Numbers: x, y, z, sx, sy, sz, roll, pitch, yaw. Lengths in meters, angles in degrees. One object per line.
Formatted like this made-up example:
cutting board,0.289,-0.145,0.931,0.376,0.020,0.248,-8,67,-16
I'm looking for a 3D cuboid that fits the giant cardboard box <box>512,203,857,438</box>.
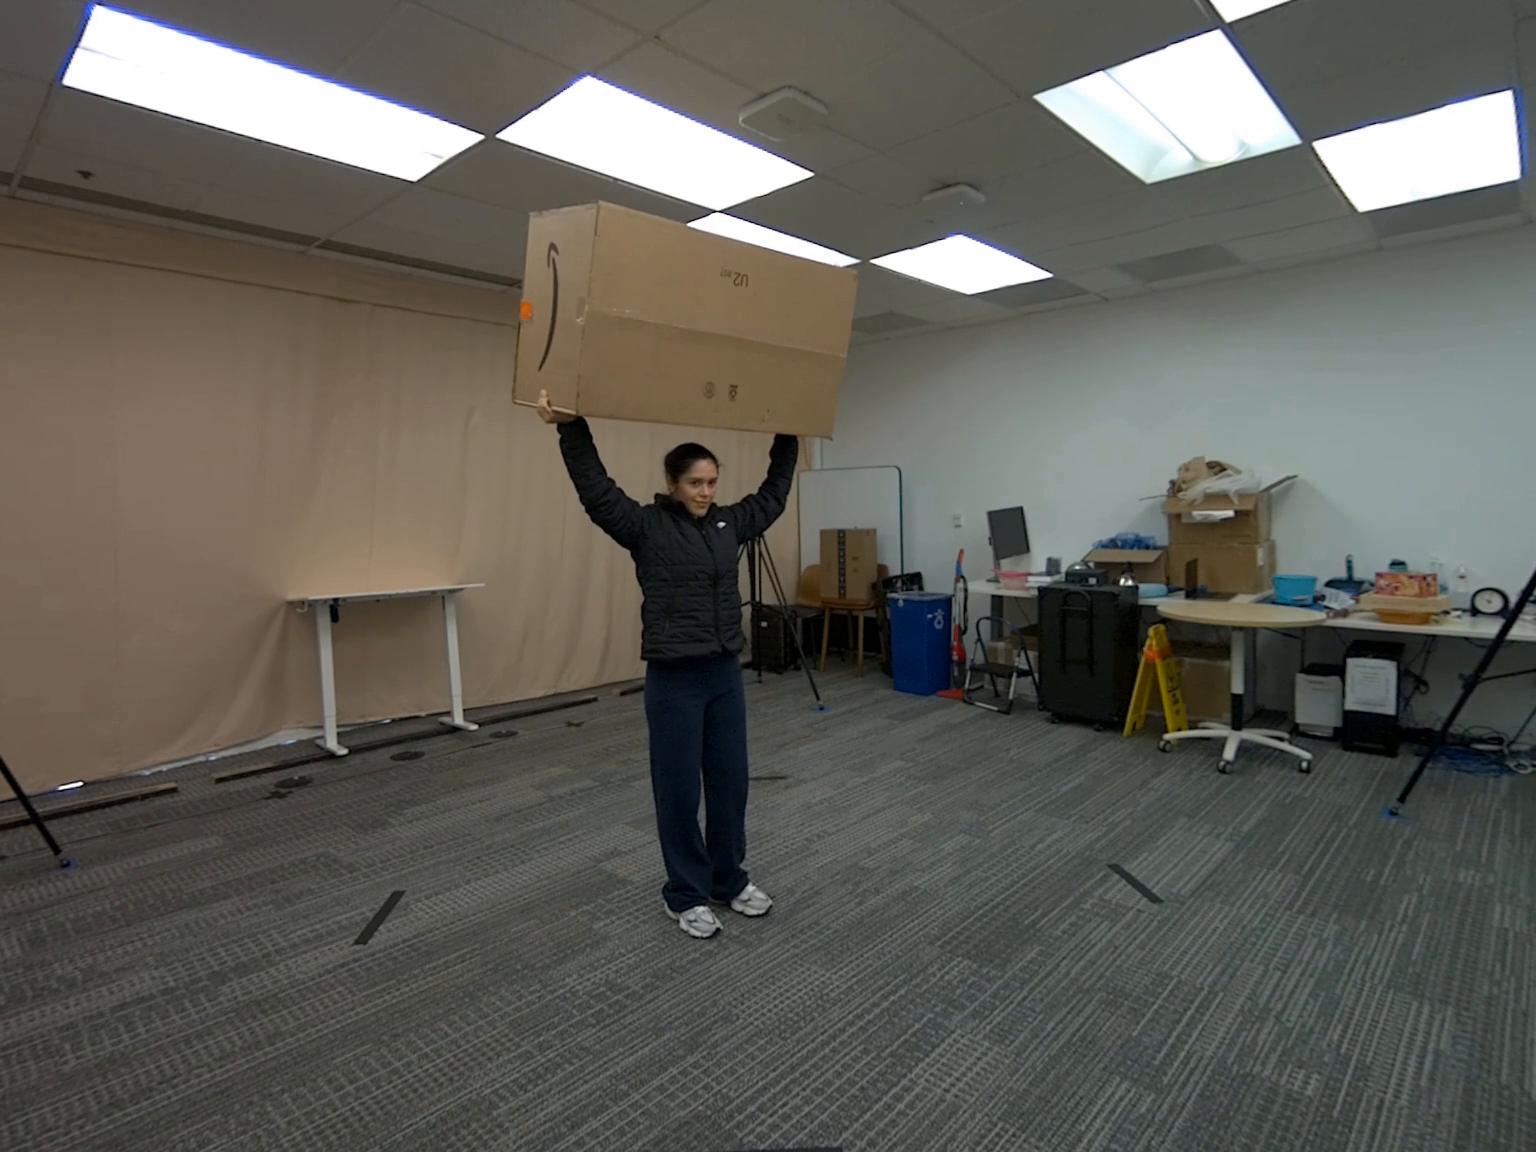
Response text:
giant cardboard box,-0.229,-0.785,2.755,0.995,0.581,0.463,-2,14,-40
